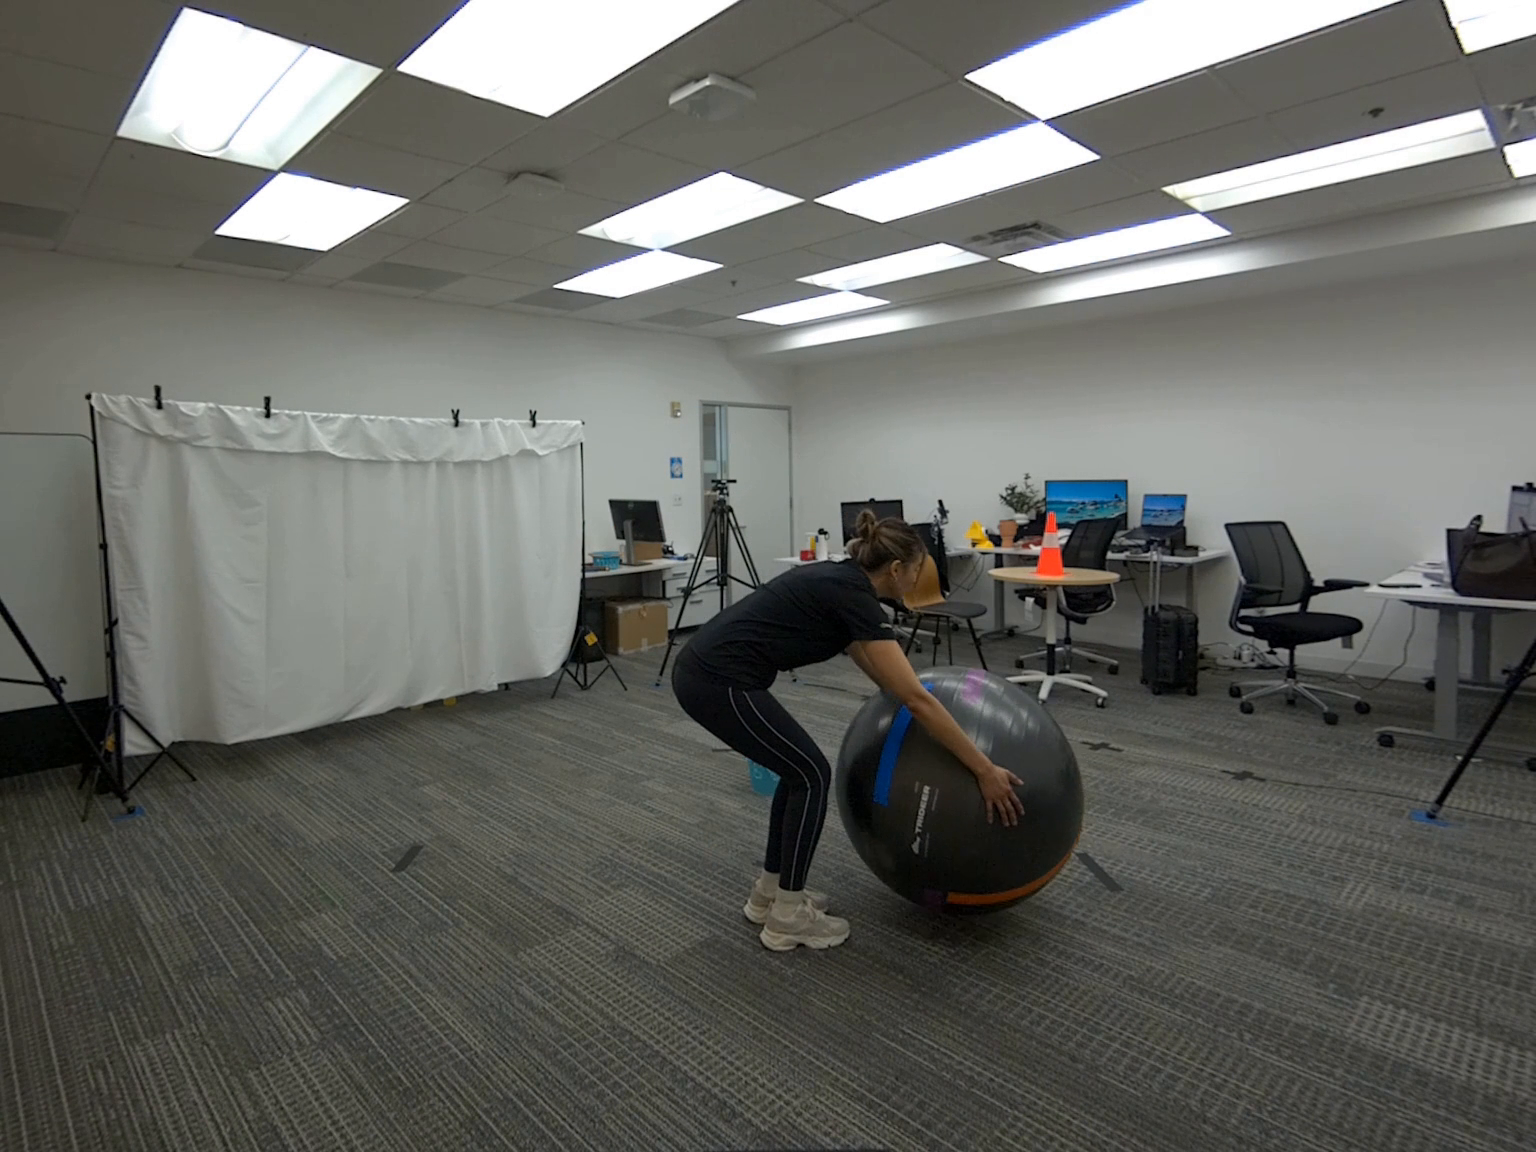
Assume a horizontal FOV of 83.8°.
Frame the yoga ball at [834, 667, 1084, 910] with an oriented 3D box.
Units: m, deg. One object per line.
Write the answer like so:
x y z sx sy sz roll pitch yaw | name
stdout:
0.612 0.672 2.733 0.757 0.755 0.762 -1 5 -2 | yoga ball
